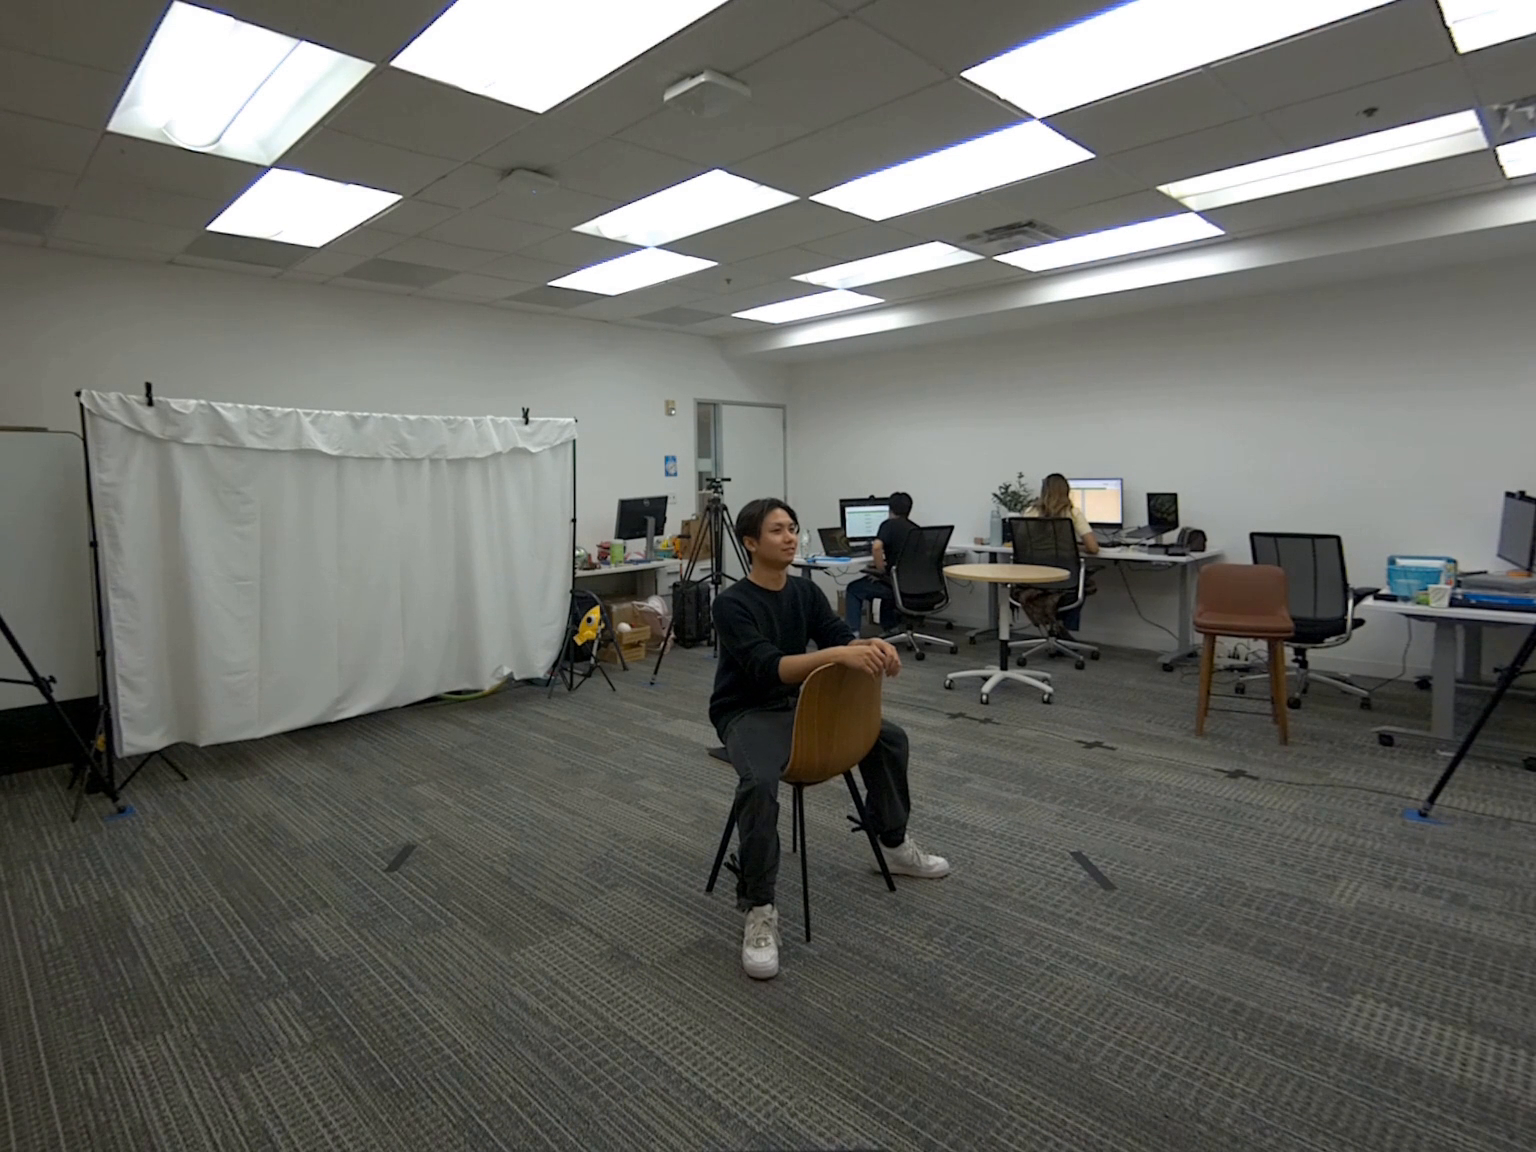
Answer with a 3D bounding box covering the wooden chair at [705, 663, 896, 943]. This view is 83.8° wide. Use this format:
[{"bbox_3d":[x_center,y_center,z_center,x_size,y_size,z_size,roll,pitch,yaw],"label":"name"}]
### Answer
[{"bbox_3d":[0.091,0.633,2.862,0.465,0.872,0.540,-5,9,-44],"label":"wooden chair"}]
